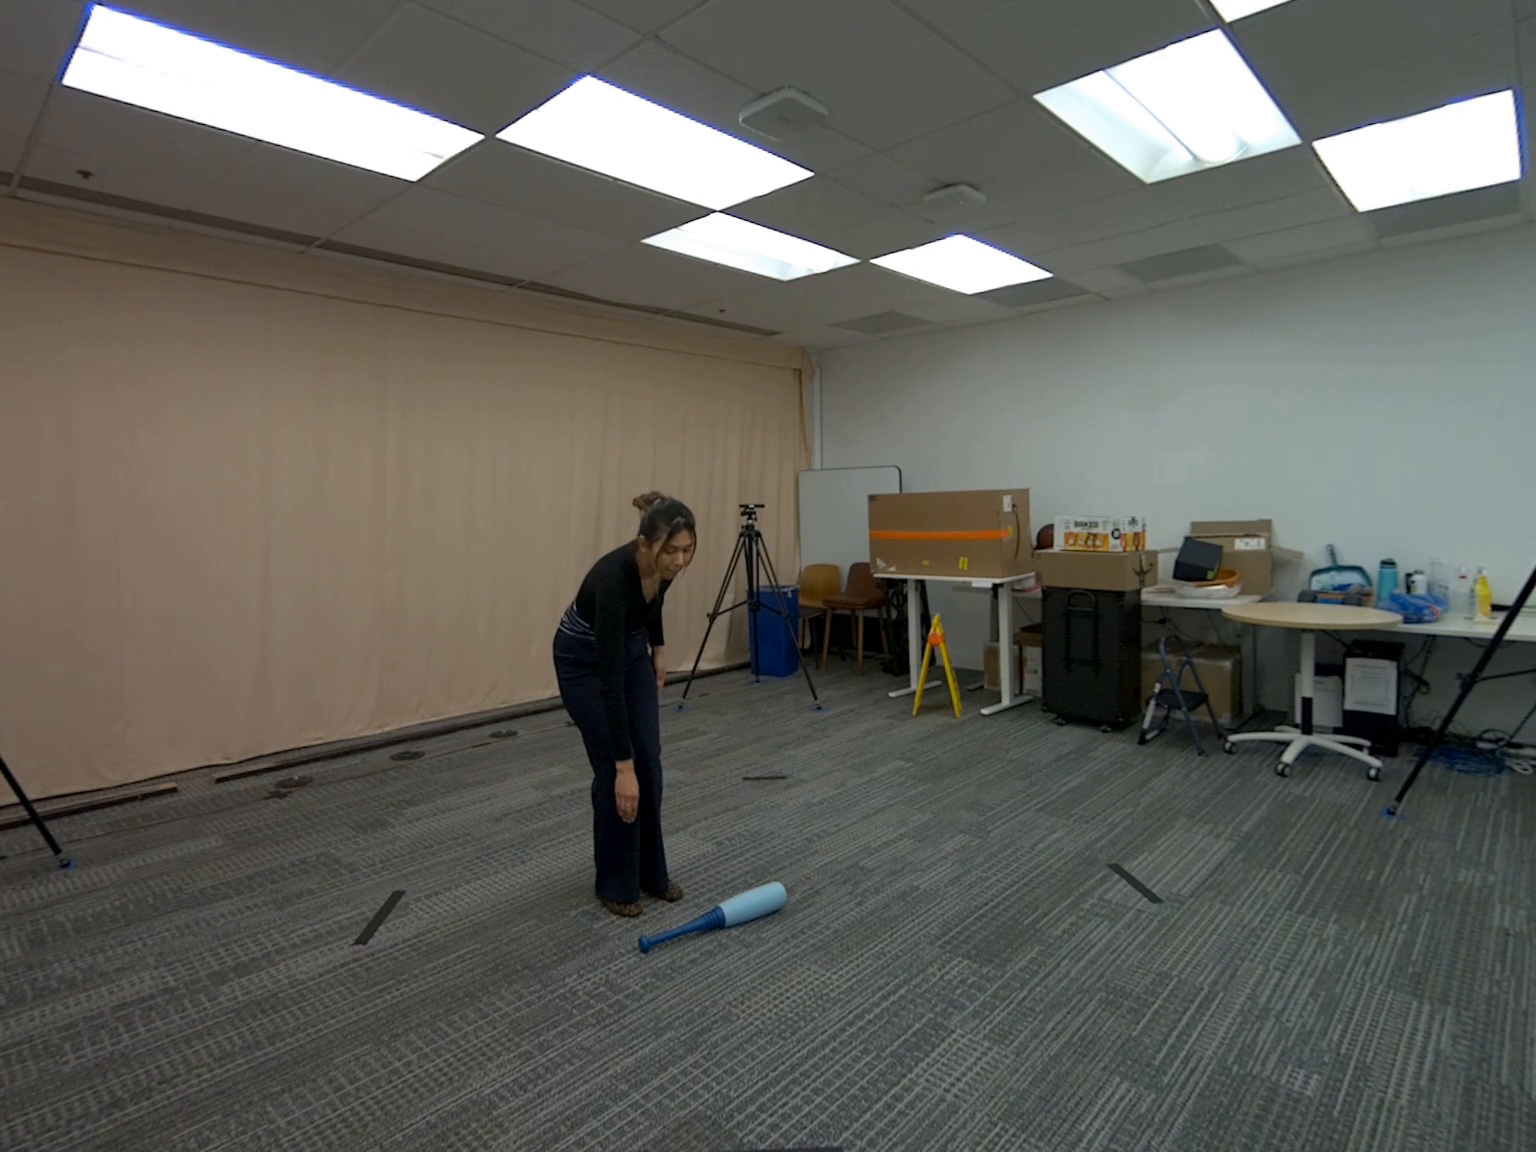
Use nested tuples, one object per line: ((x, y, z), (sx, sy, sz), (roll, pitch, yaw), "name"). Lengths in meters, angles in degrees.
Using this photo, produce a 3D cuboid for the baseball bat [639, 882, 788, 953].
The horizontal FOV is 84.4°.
((-0.170, 1.126, 2.763), (0.529, 0.089, 0.091), (-7, 7, -29), "baseball bat")
